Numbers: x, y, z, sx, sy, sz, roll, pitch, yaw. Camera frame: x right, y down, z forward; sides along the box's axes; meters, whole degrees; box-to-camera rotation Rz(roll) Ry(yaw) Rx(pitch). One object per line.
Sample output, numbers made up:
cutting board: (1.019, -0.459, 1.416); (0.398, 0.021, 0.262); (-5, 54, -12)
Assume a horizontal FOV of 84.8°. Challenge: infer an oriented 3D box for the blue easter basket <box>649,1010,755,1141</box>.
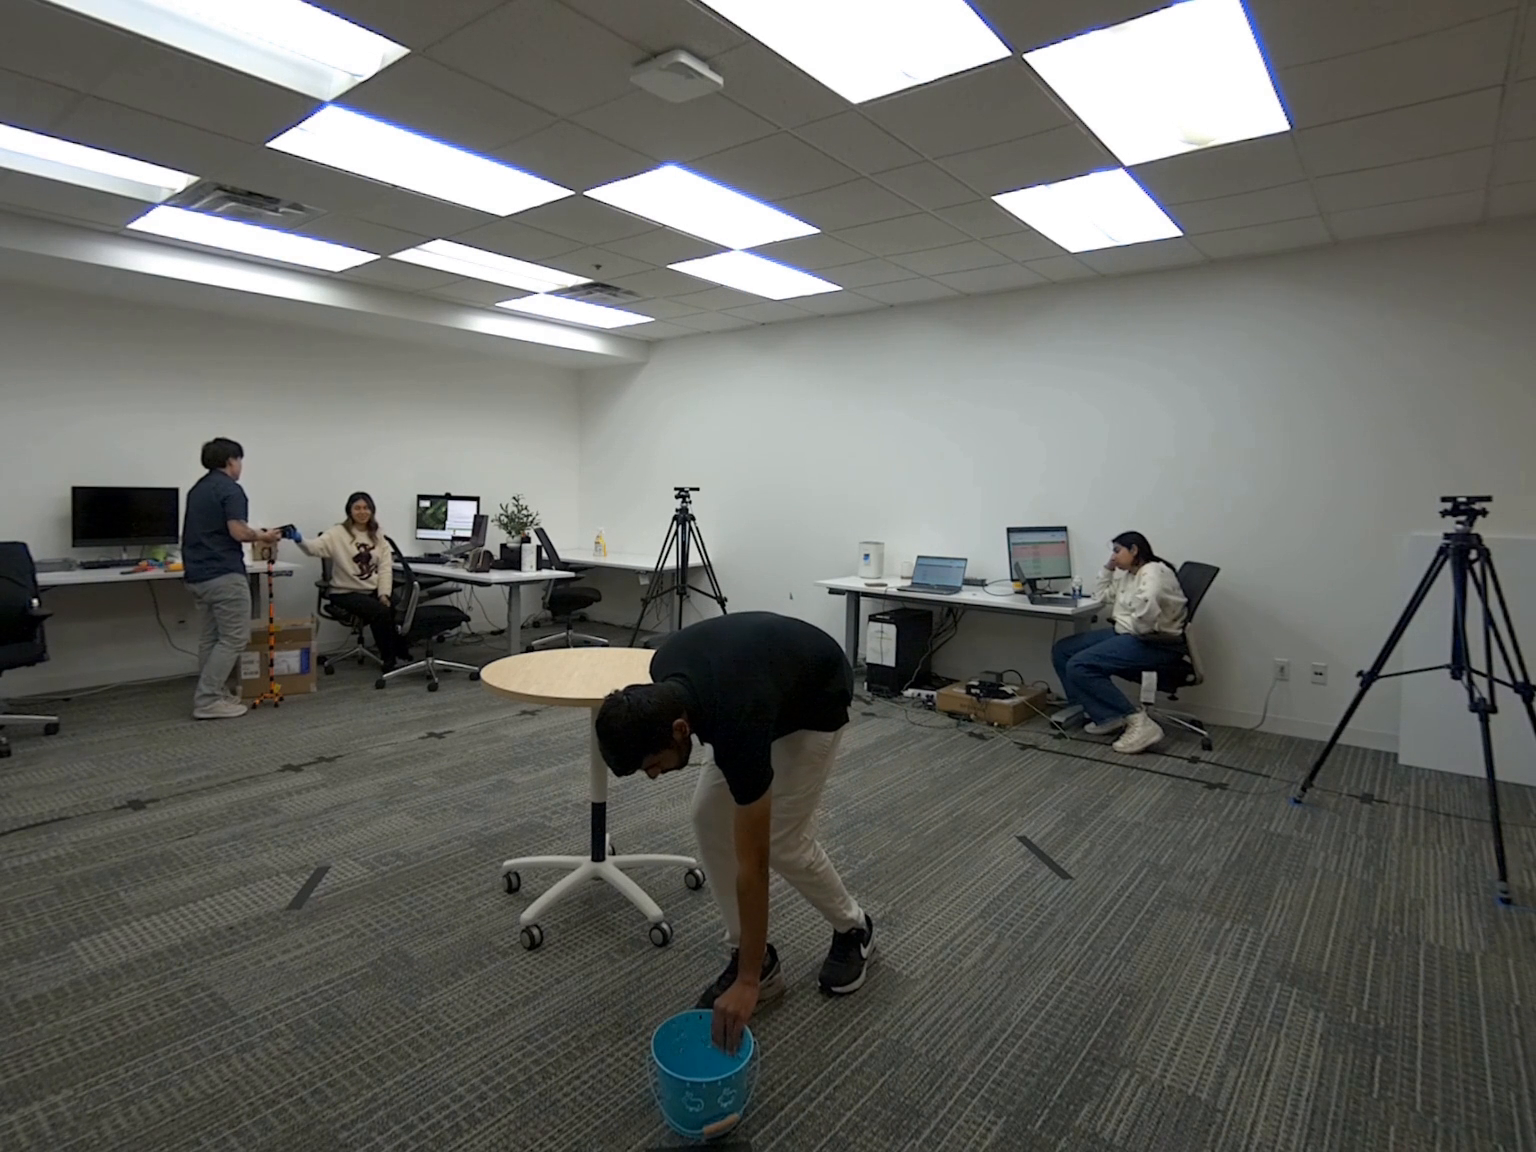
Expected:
blue easter basket: (-0.151, 1.108, 1.897); (0.243, 0.155, 0.245); (0, 6, -2)
